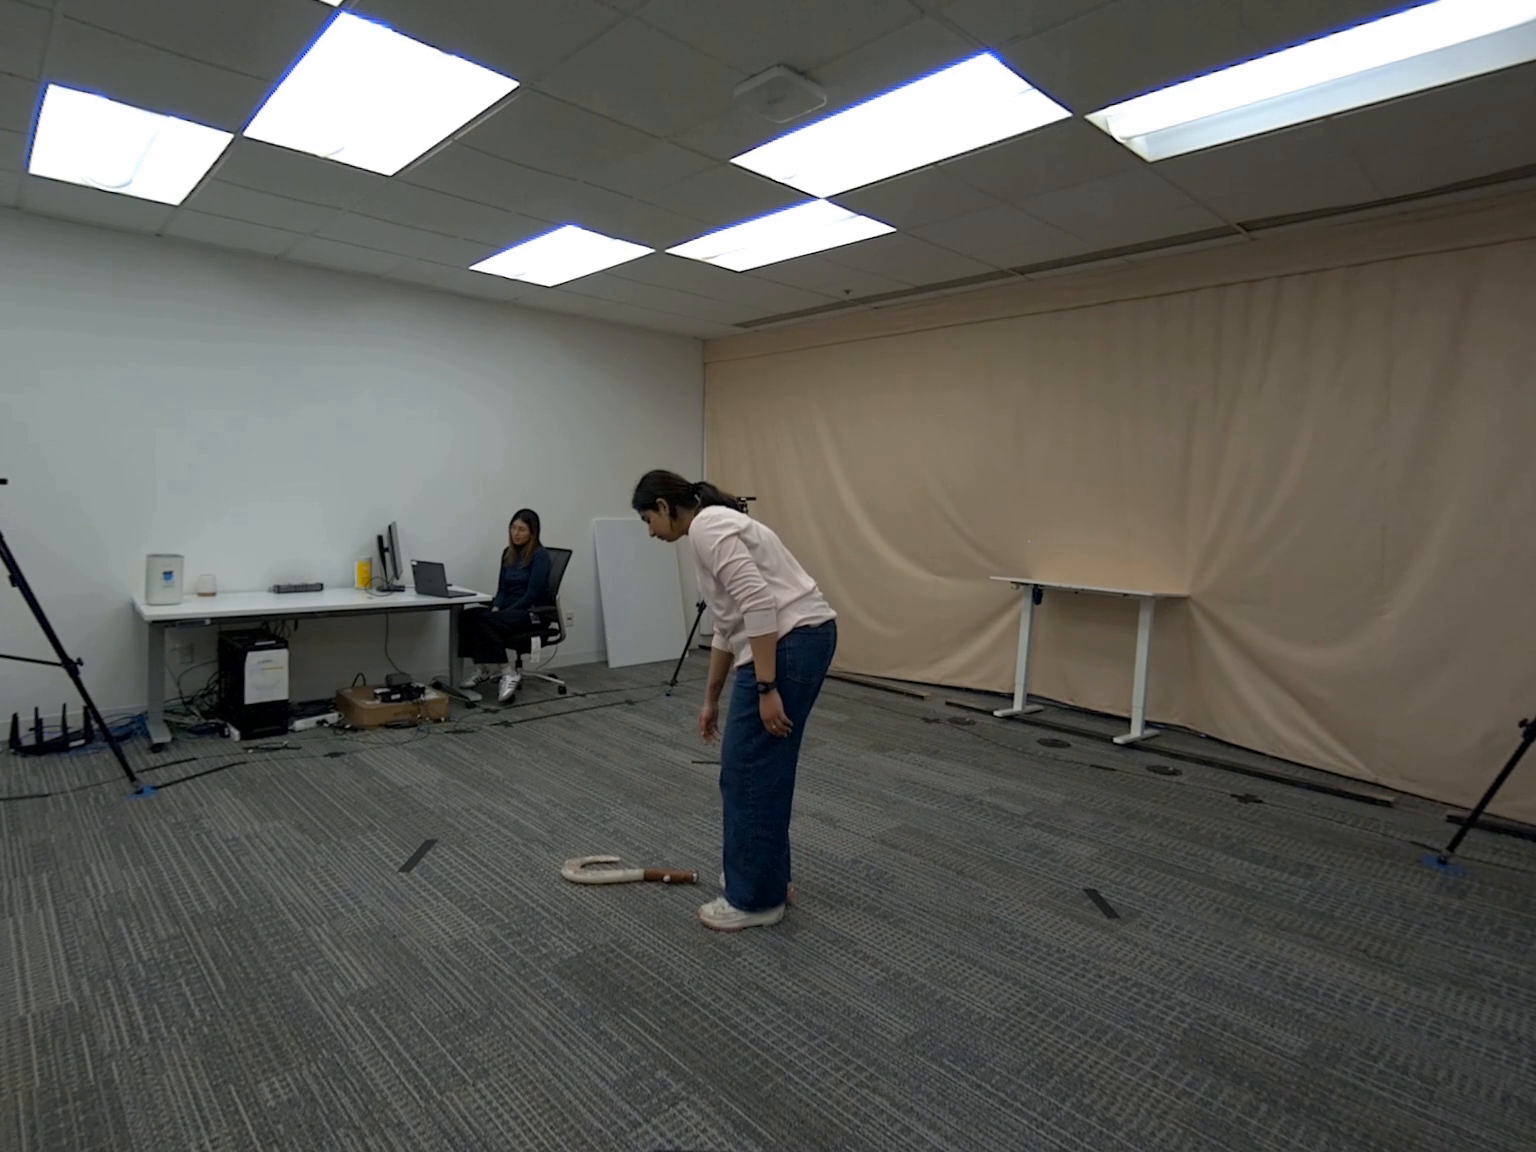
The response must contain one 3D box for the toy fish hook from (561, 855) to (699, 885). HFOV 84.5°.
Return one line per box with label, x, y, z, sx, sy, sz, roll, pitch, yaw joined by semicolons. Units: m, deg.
toy fish hook;-0.507;1.069;3.099;0.507;0.048;0.225;1;6;1
